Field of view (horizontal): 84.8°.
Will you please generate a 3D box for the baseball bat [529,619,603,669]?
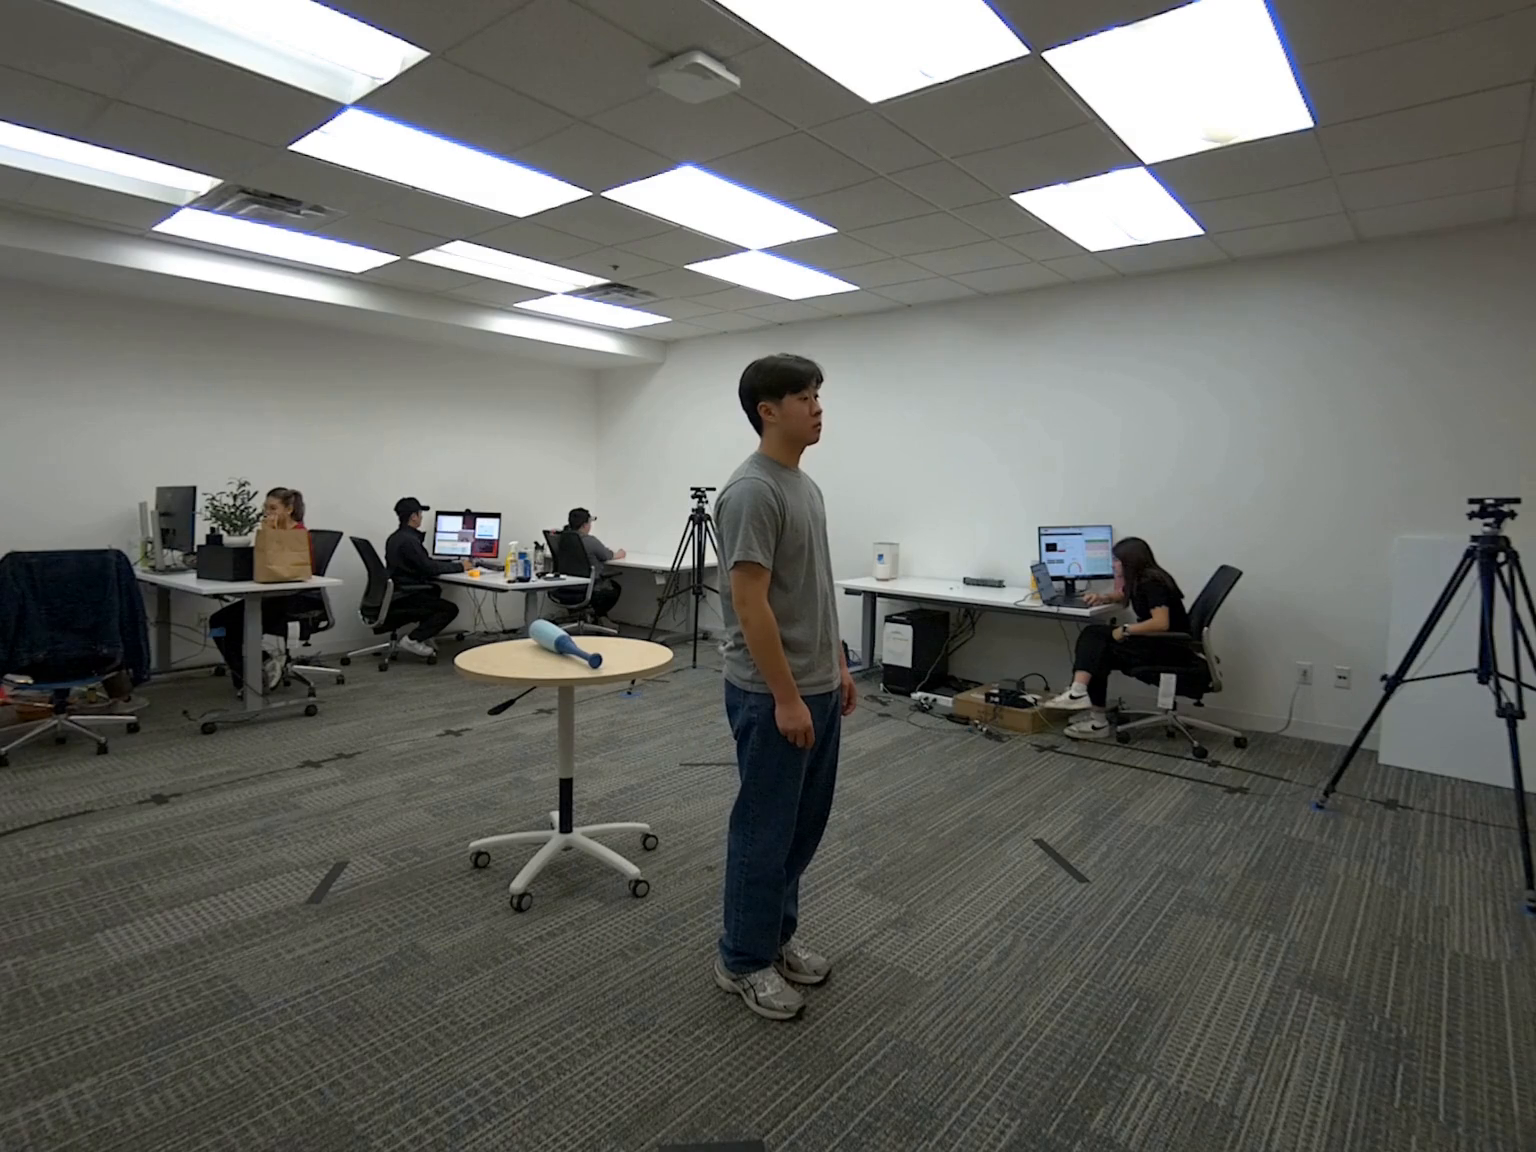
[{"bbox_3d":[-0.734,0.246,3.026,0.086,0.088,0.562,-2,9,-35],"label":"baseball bat"}]
